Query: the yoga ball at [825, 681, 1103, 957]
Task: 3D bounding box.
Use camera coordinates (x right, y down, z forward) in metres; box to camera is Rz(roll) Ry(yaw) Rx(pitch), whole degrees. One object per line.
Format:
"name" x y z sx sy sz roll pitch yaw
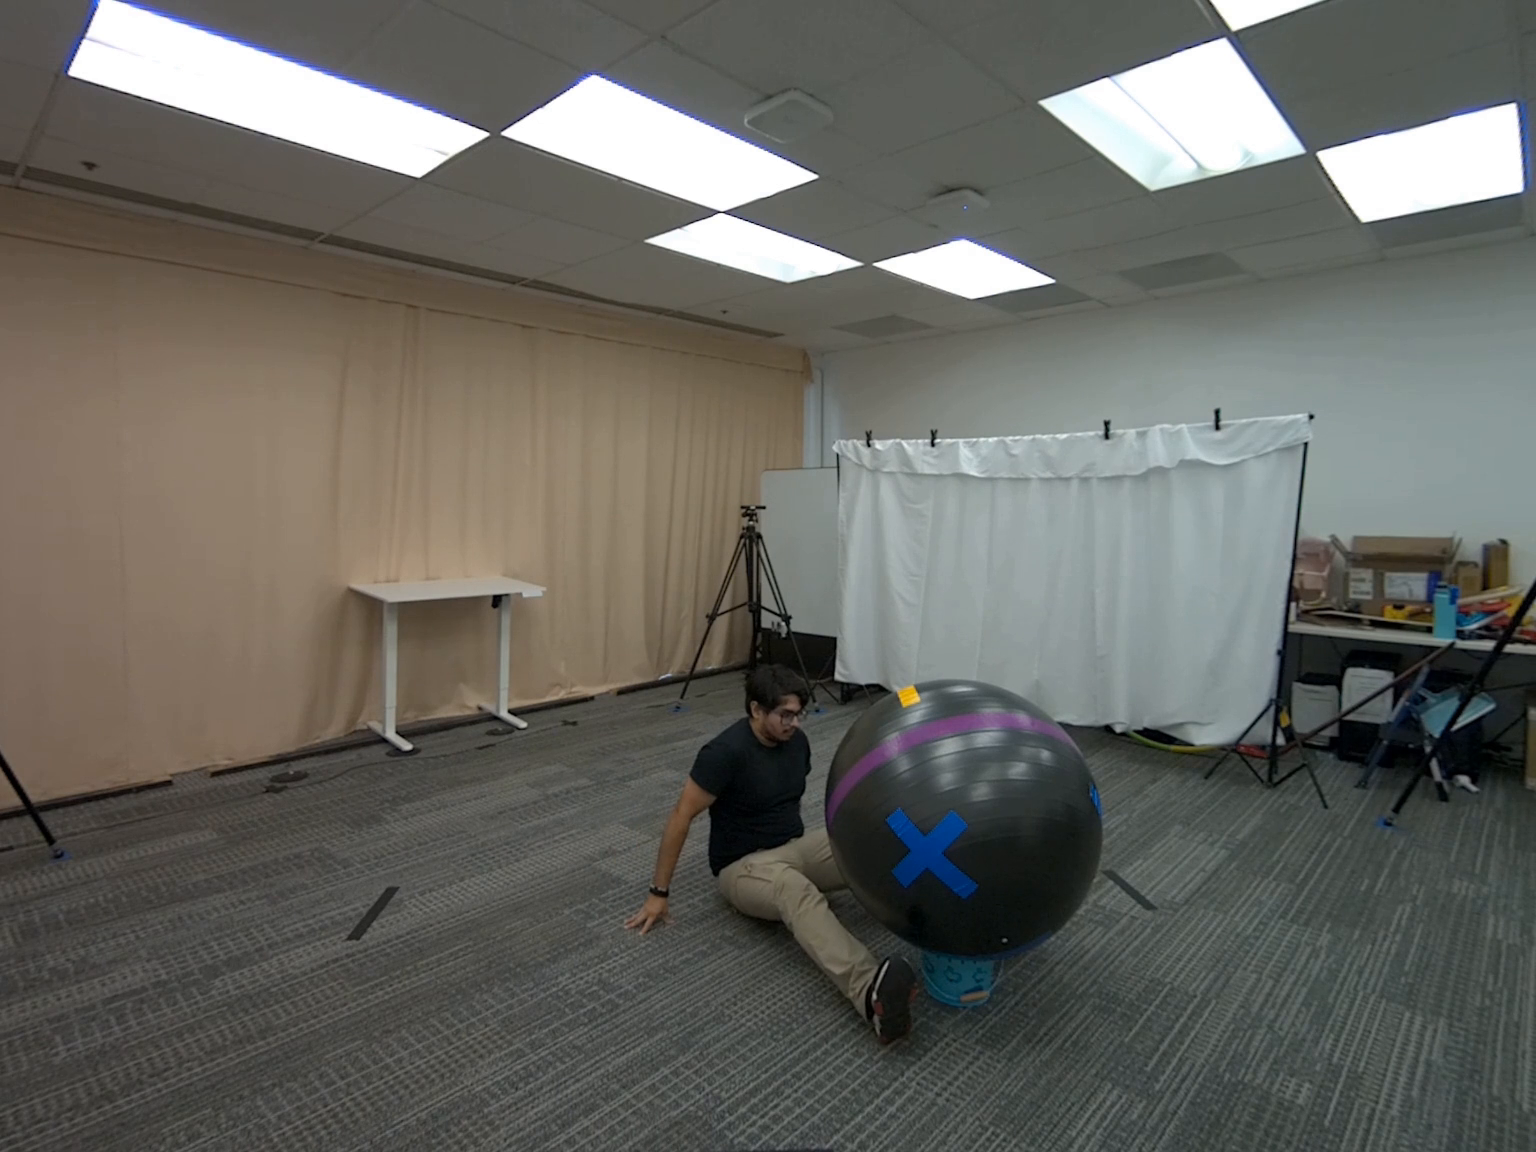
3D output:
"yoga ball" 0.554 0.683 2.404 0.757 0.756 0.760 0 4 -2
